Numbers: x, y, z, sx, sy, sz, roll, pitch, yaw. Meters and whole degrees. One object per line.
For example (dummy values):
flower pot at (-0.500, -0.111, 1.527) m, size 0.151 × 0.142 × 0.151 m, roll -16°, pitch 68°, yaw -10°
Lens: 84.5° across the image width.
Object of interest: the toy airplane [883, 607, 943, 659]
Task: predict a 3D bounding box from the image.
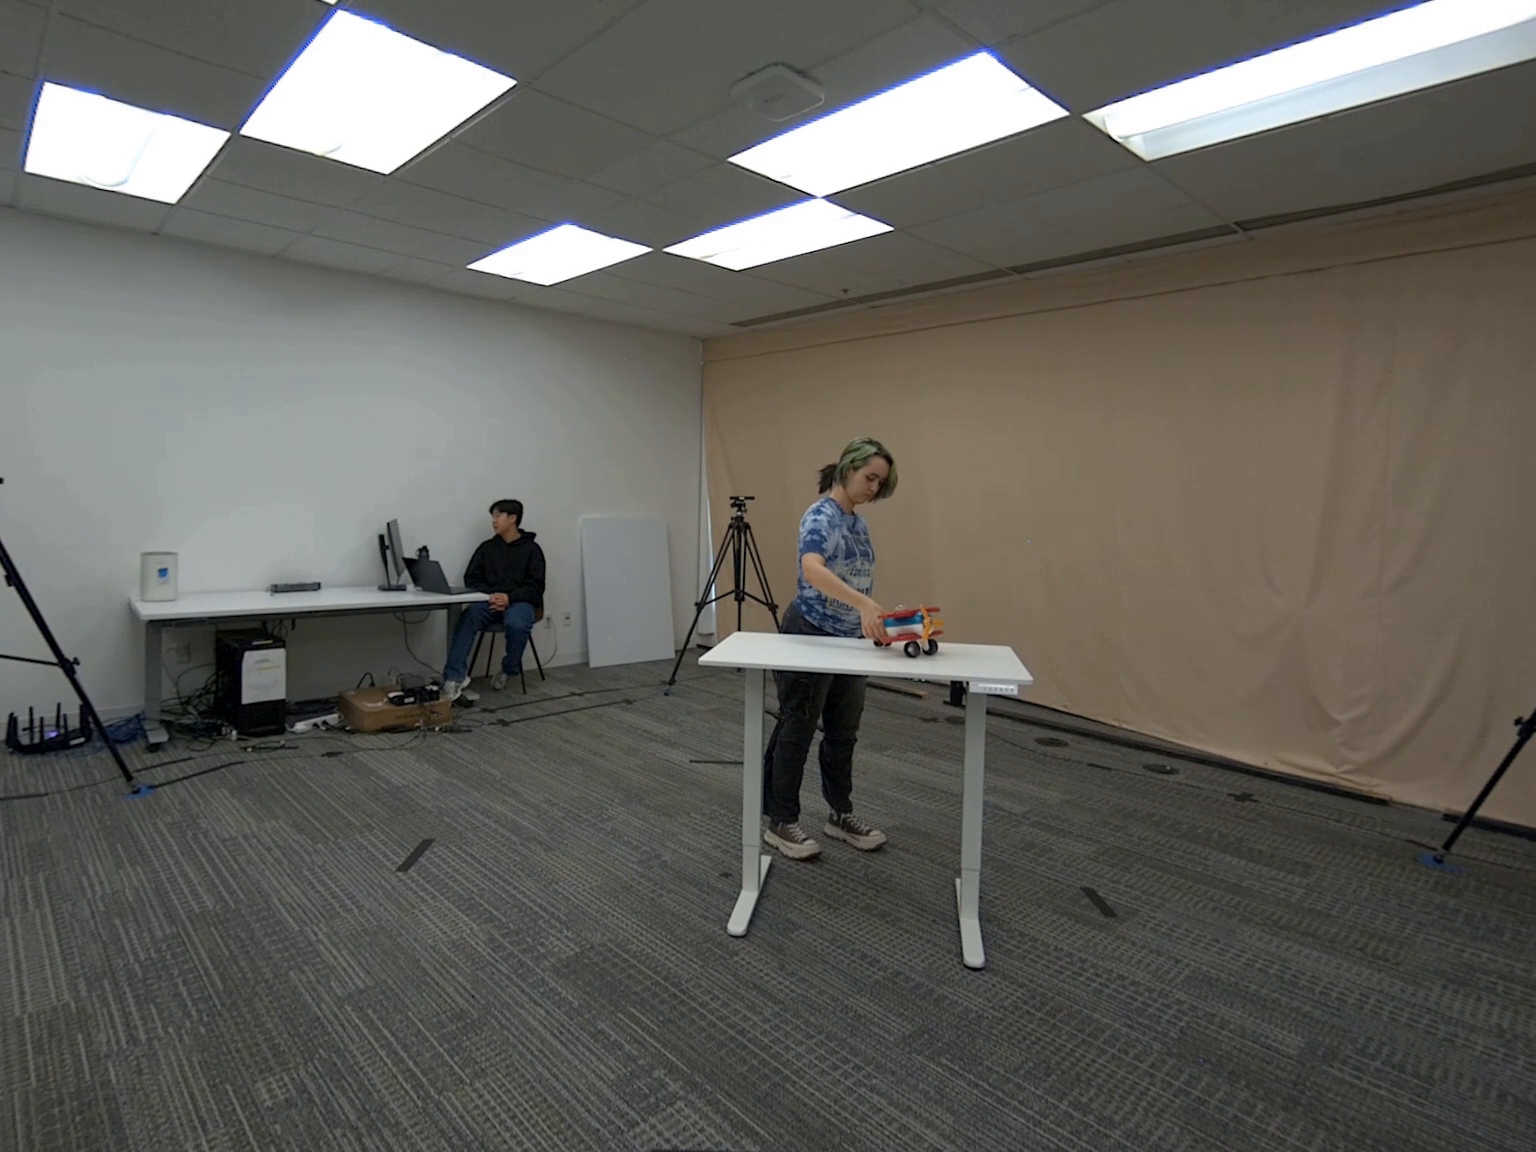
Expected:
toy airplane at (0.440, 0.182, 2.831) m, size 0.264 × 0.156 × 0.247 m, roll 5°, pitch 7°, yaw 25°
